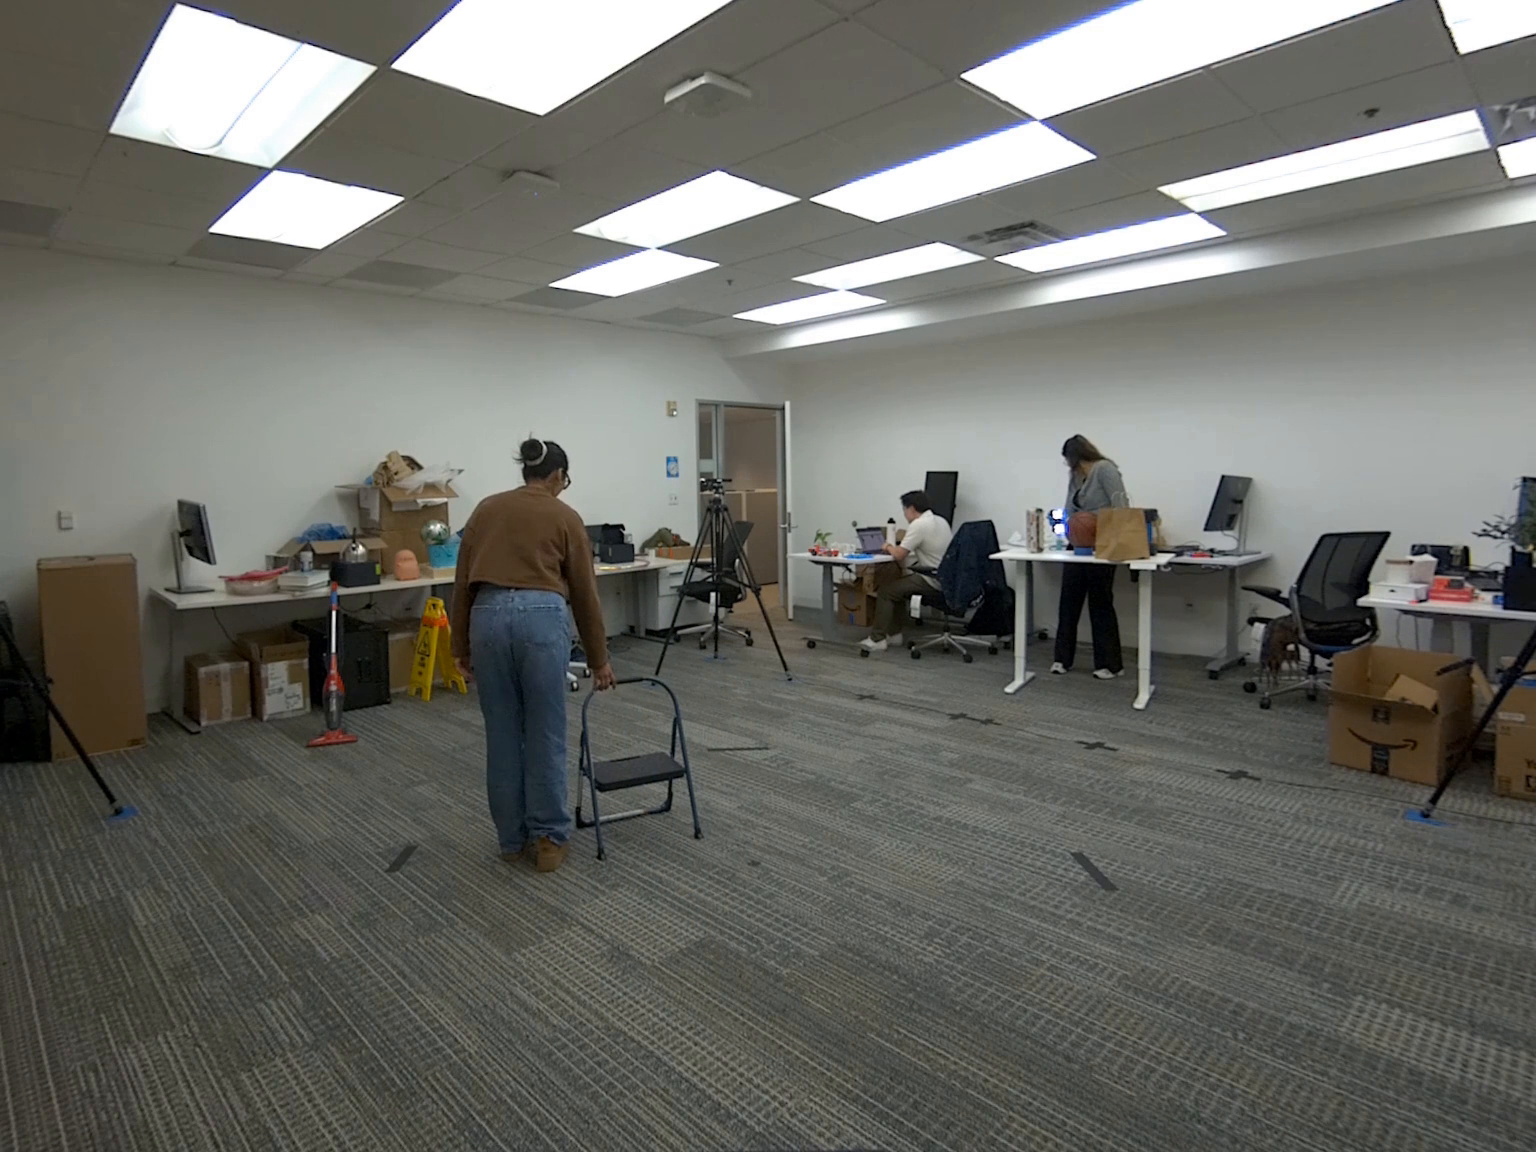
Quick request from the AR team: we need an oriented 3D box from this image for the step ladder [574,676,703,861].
[{"bbox_3d":[-0.522,0.718,3.387,0.421,0.604,0.358,-3,4,-27],"label":"step ladder"}]
